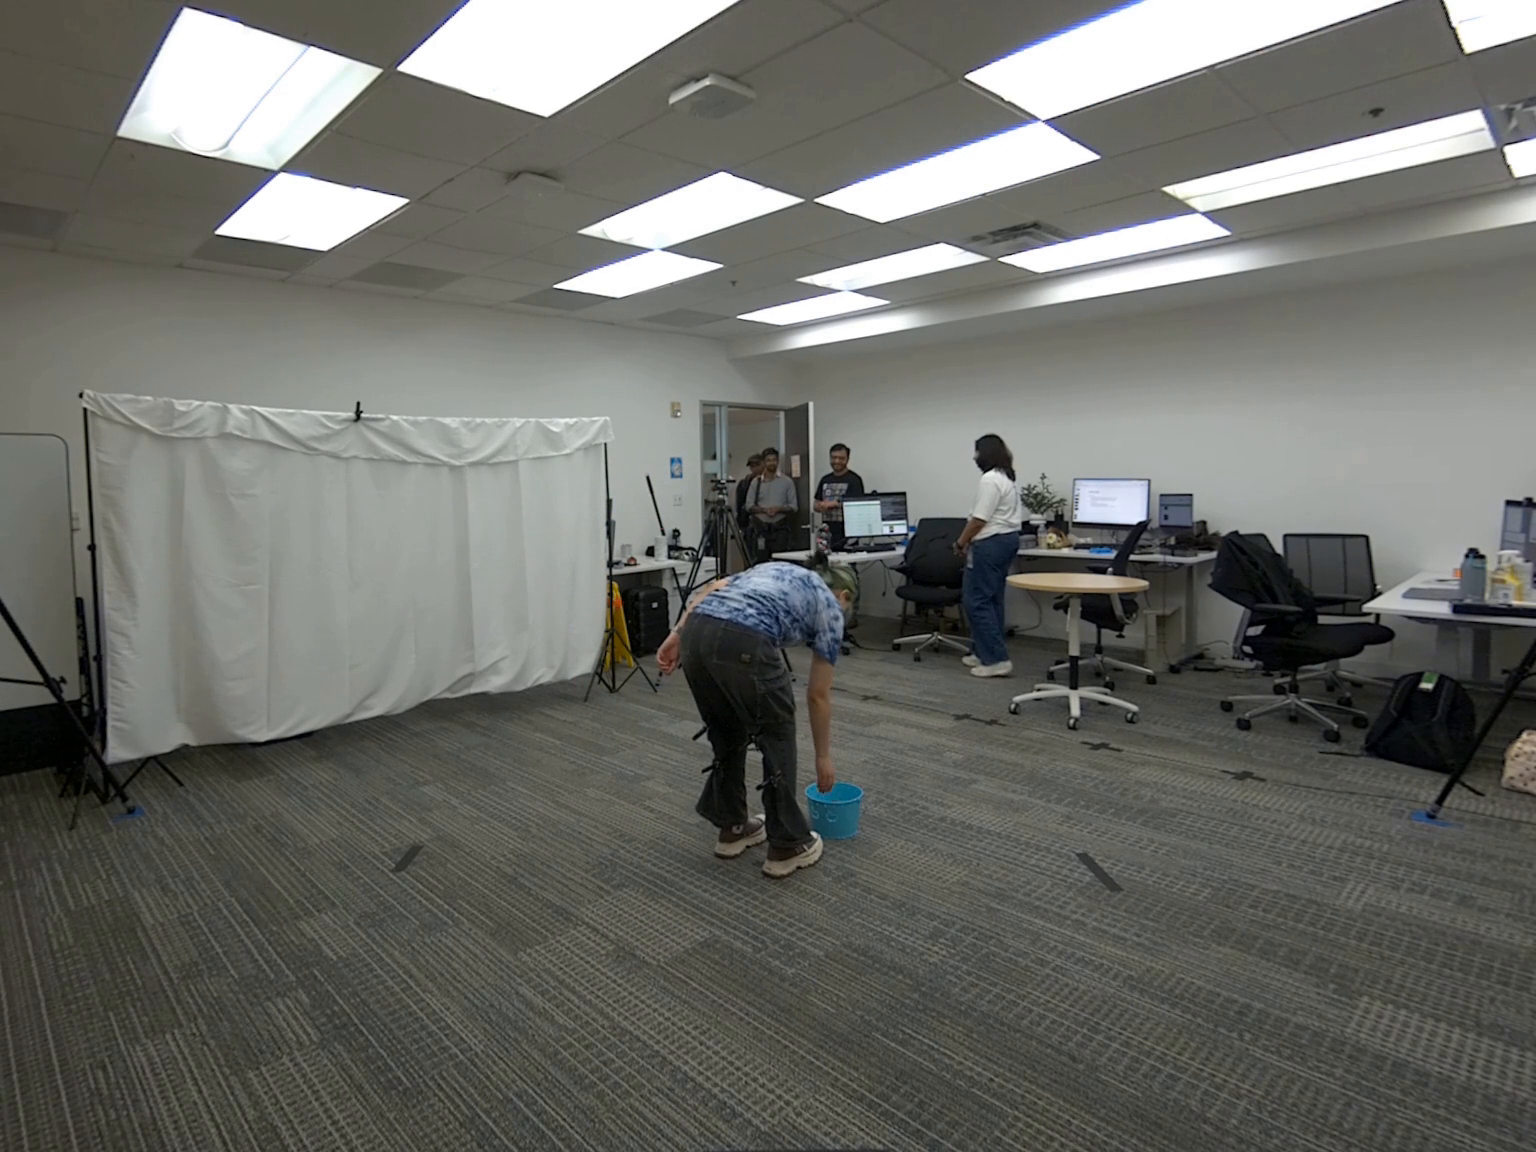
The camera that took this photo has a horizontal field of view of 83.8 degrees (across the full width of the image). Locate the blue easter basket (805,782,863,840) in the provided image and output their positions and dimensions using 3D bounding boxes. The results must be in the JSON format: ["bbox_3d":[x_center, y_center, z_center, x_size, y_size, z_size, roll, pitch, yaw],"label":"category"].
[{"bbox_3d":[0.270,0.930,3.399,0.243,0.155,0.245,-1,6,-2],"label":"blue easter basket"}]
